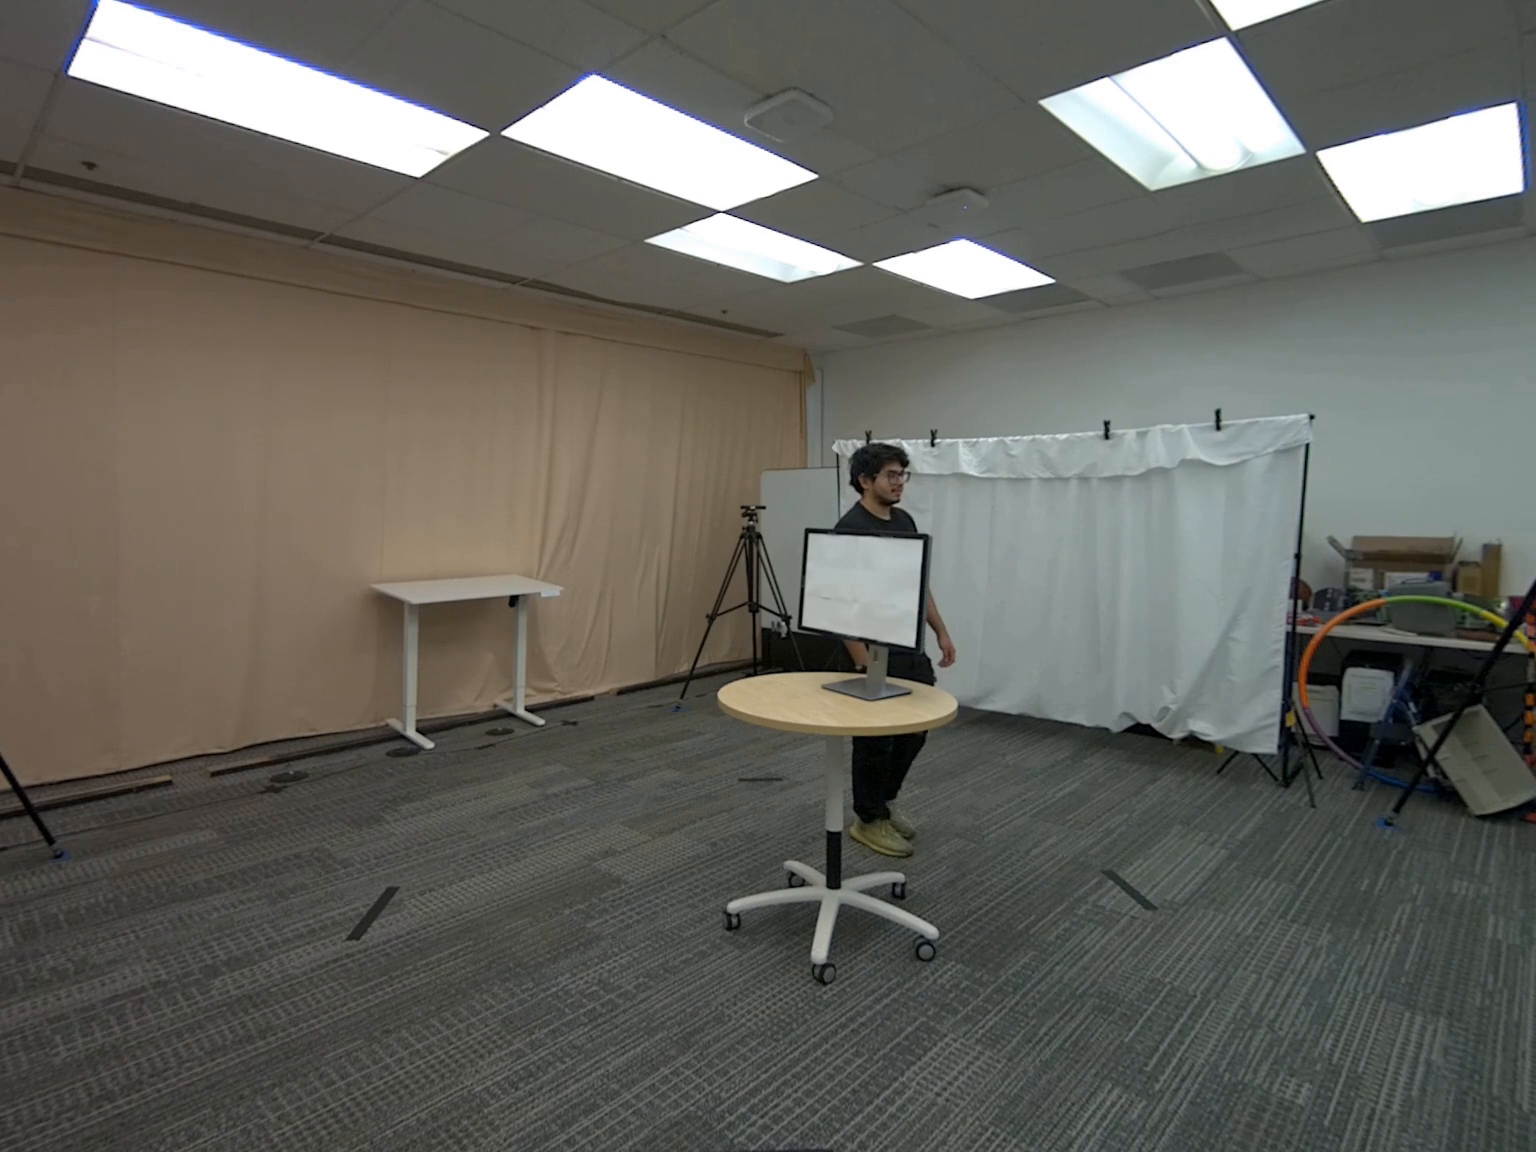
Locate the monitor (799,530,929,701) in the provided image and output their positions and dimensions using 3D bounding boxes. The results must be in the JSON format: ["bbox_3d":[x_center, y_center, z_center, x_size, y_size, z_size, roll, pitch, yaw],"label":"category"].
[{"bbox_3d":[0.353,0.121,2.809,0.204,0.553,0.584,0,4,-37],"label":"monitor"}]
